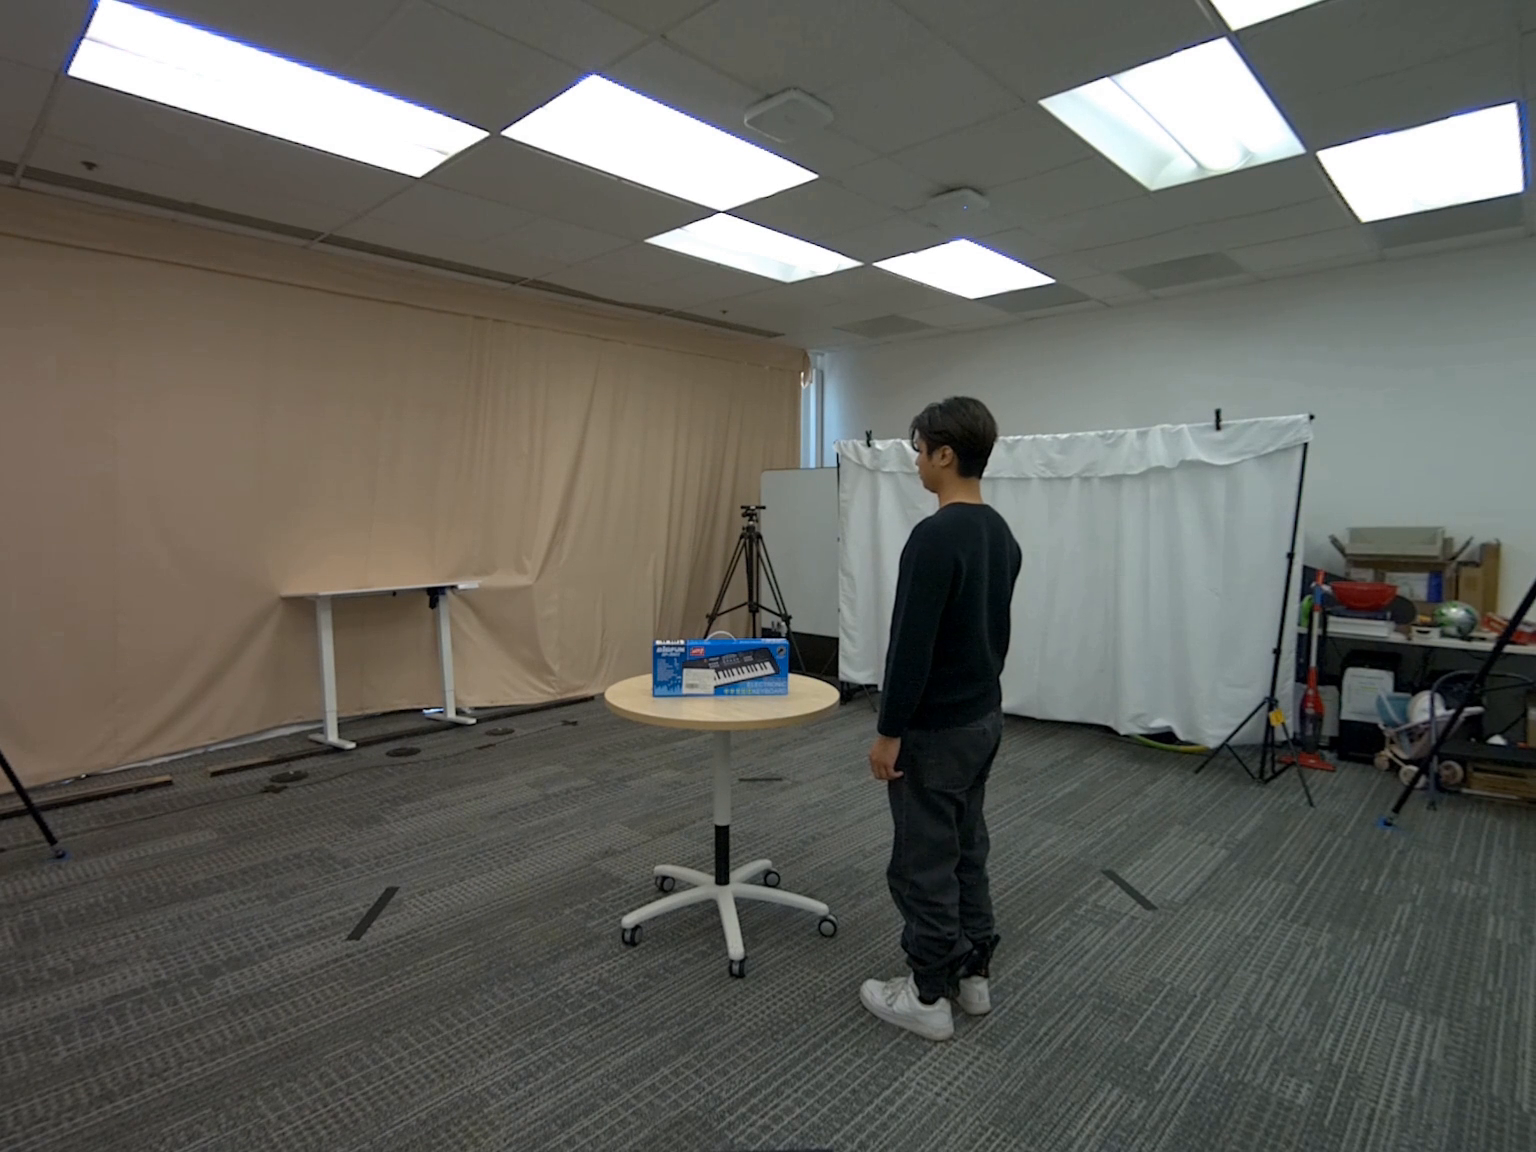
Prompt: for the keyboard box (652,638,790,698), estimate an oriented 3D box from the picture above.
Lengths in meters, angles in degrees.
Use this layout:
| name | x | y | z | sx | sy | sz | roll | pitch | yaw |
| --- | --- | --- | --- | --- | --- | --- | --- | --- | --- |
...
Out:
| name | x | y | z | sx | sy | sz | roll | pitch | yaw |
| --- | --- | --- | --- | --- | --- | --- | --- | --- | --- |
| keyboard box | -0.156 | 0.296 | 2.711 | 0.435 | 0.175 | 0.059 | 1 | 8 | -4 |
